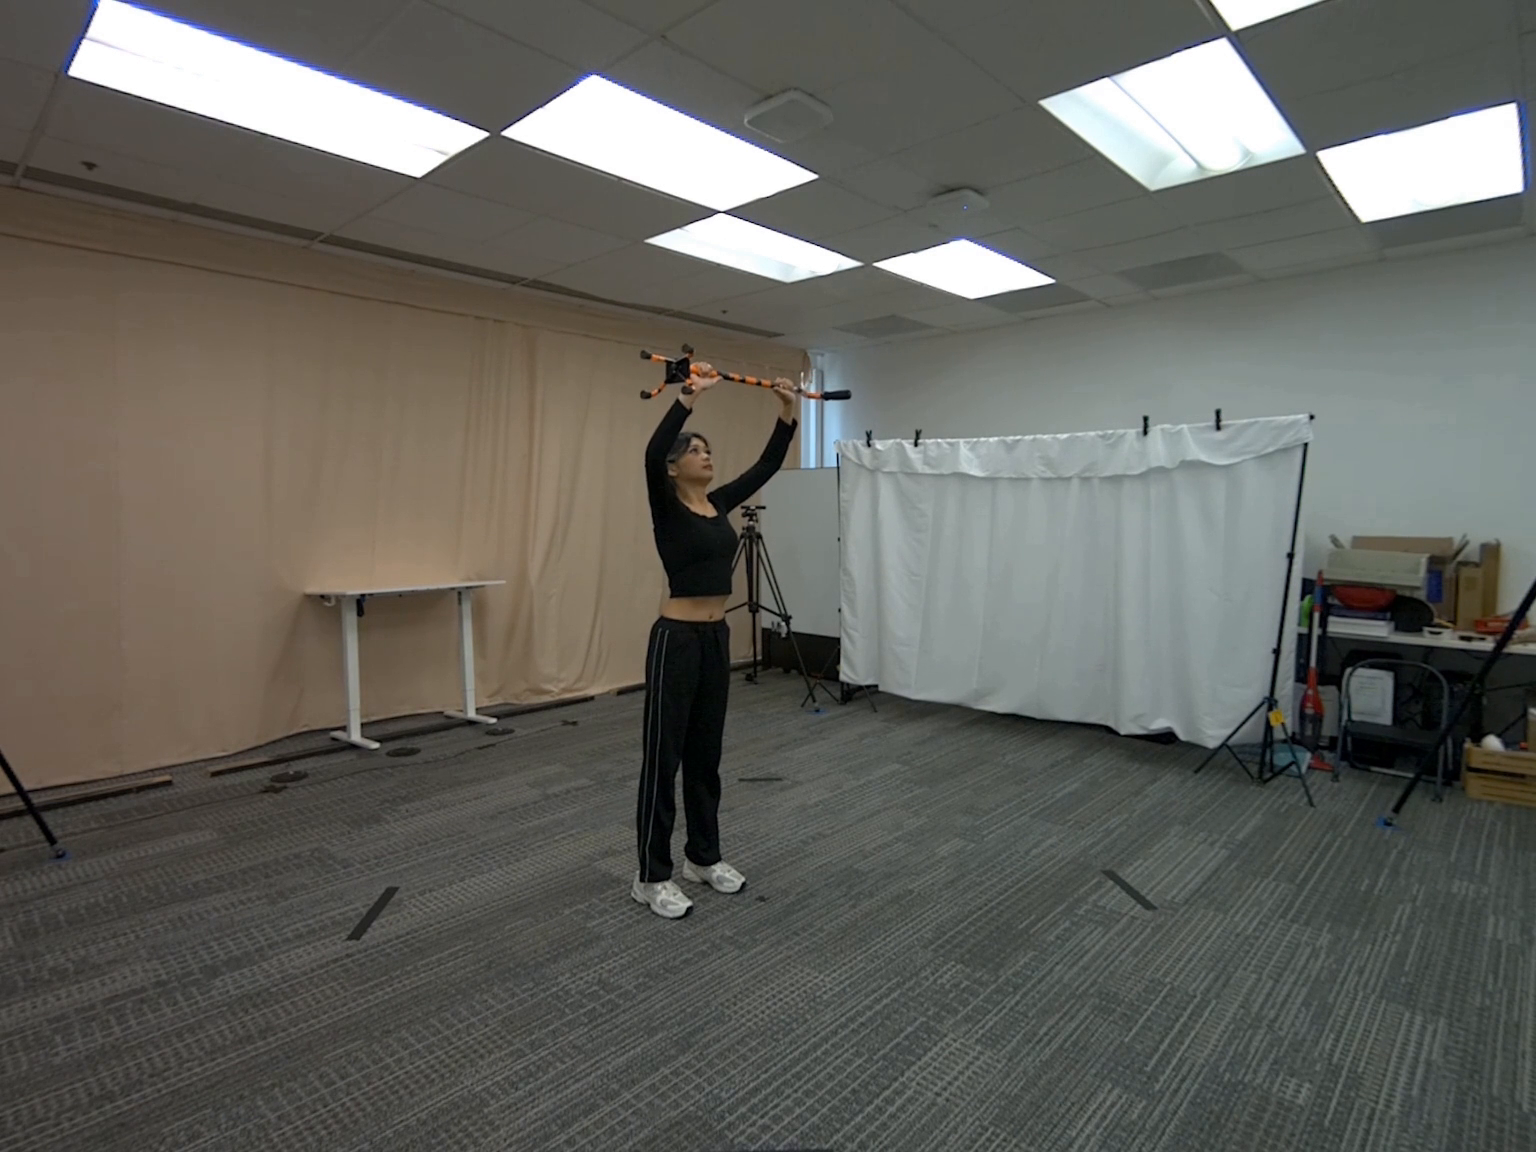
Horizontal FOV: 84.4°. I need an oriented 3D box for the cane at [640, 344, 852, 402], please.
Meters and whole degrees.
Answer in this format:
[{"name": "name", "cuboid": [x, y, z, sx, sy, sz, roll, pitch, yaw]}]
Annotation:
[{"name": "cane", "cuboid": [-0.037, -0.647, 2.882, 0.213, 0.151, 0.881, 4, 7, 40]}]
